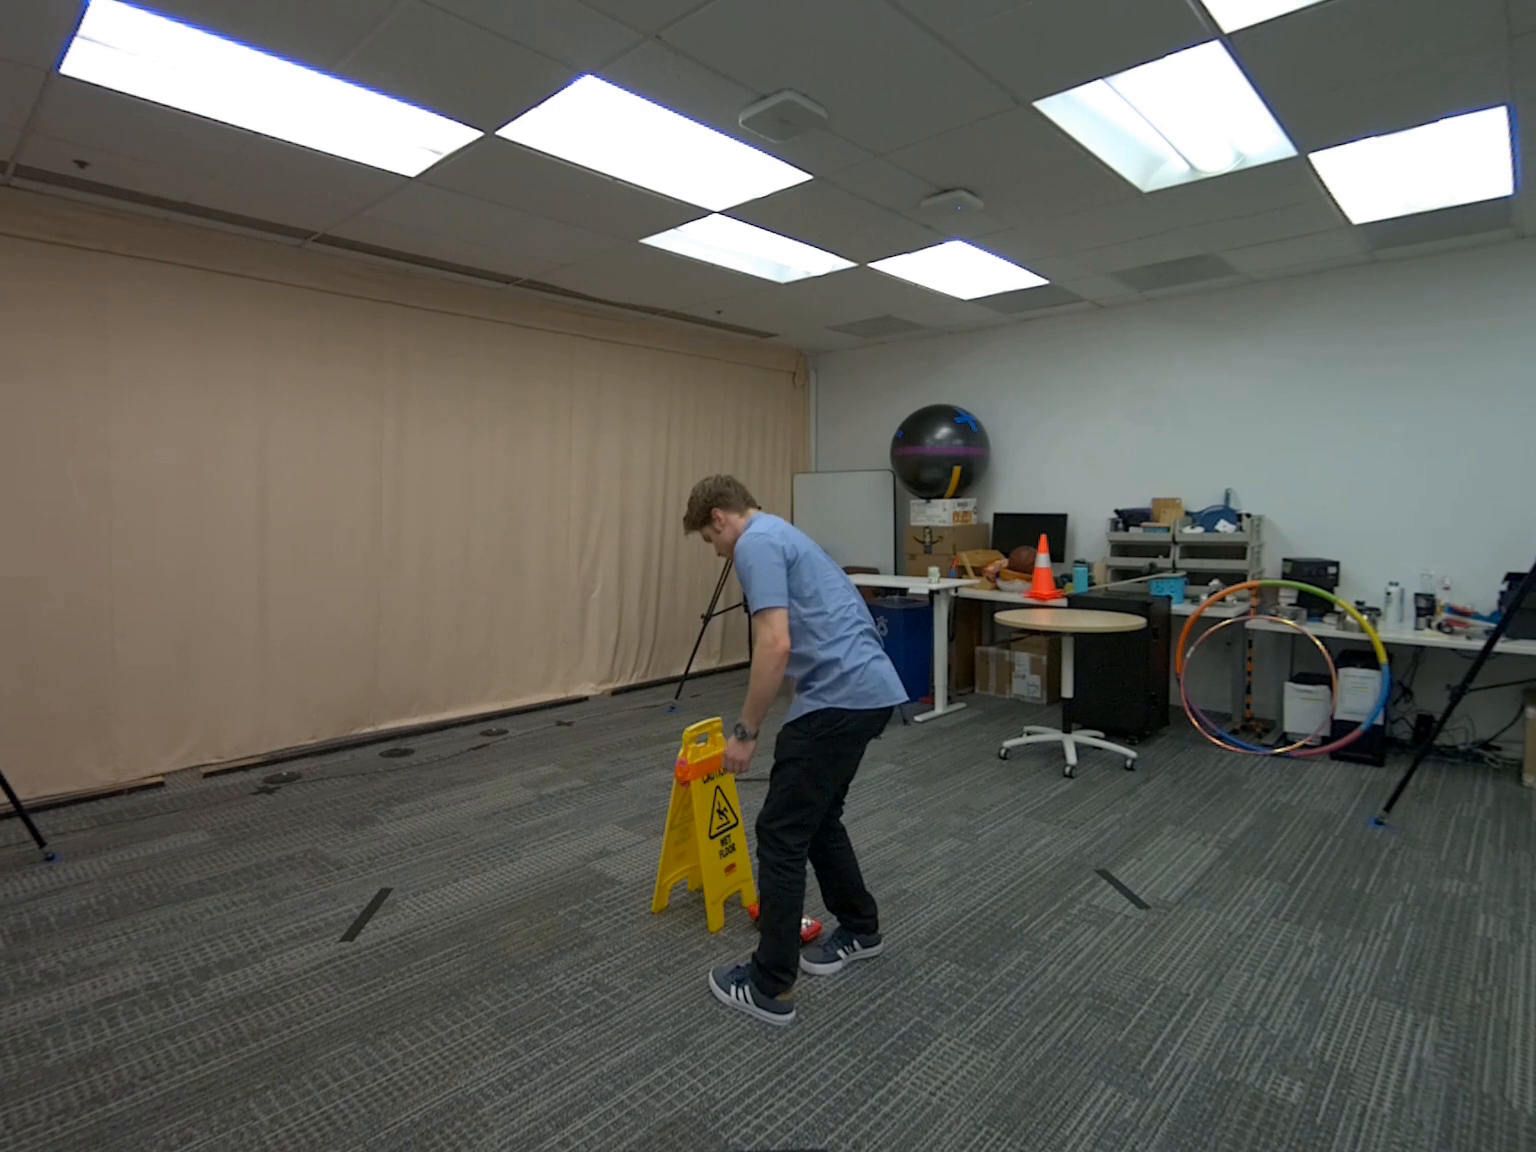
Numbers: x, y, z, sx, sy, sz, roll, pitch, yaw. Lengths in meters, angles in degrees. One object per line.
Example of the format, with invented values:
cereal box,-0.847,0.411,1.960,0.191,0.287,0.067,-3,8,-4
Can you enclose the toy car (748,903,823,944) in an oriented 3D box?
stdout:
toy car,0.058,1.135,2.759,0.264,0.083,0.126,16,13,39
